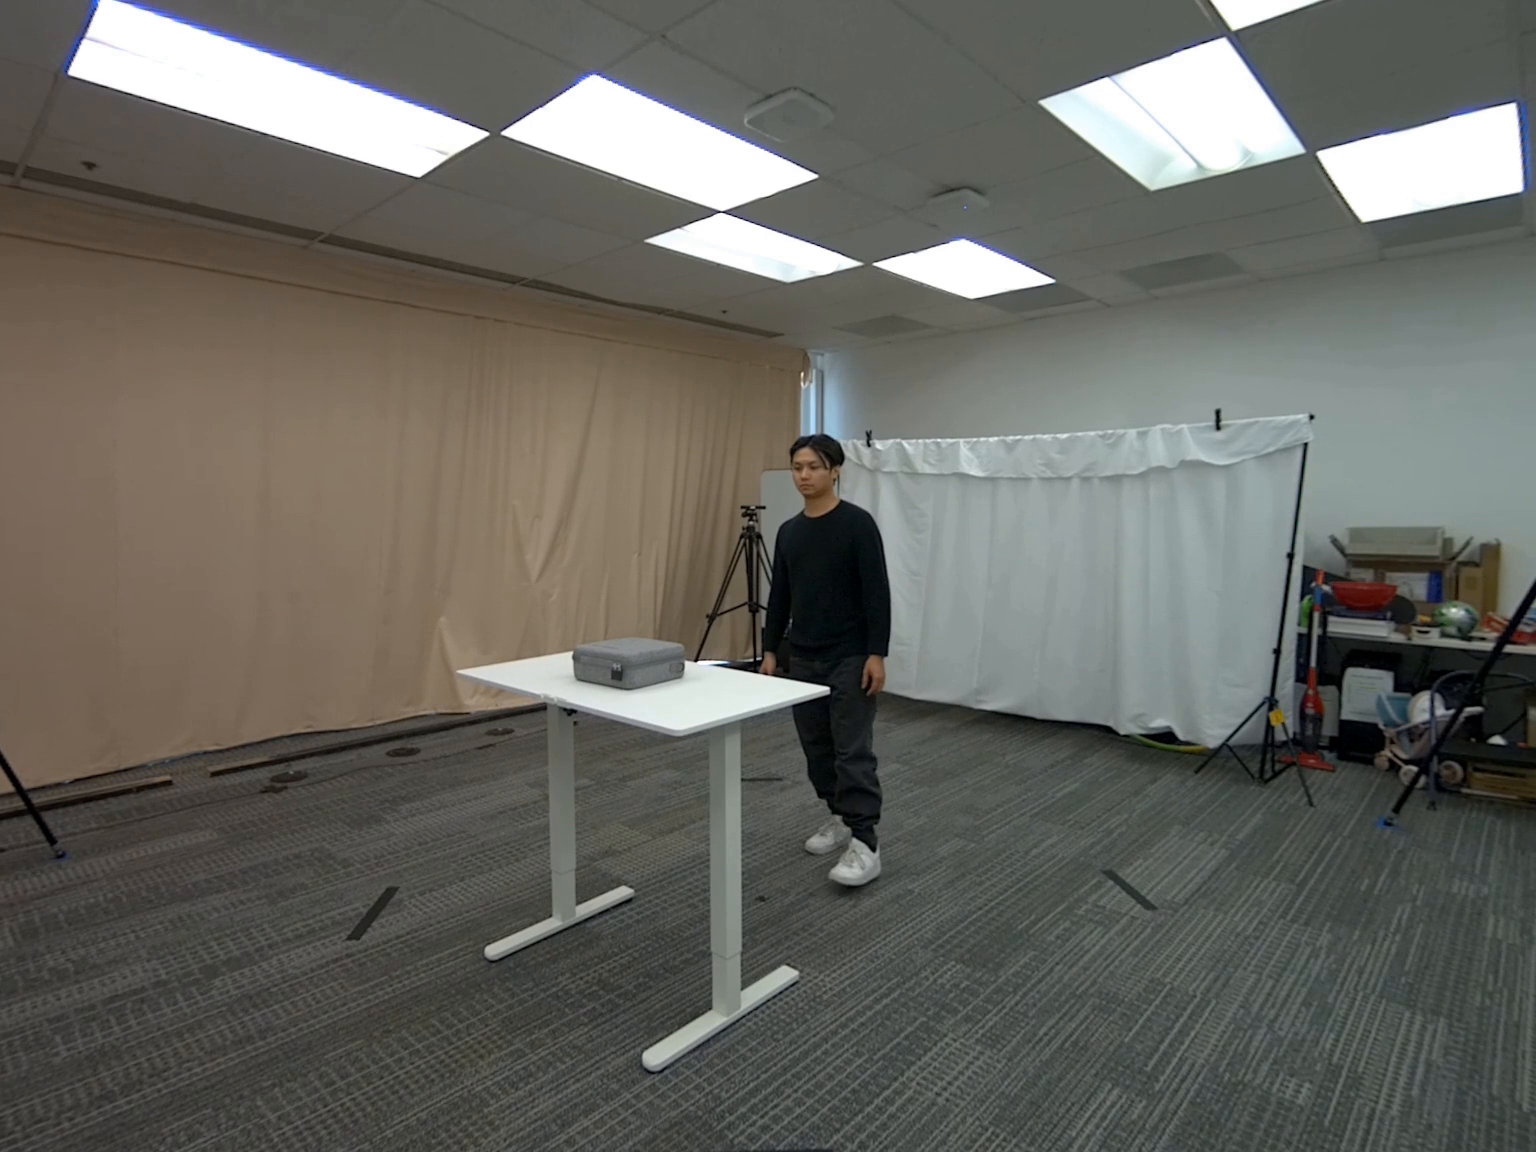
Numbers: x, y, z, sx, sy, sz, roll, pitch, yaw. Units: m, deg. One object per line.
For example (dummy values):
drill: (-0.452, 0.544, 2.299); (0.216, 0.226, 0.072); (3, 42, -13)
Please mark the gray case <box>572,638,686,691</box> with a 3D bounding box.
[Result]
gray case: (-0.409, 0.252, 2.495); (0.265, 0.104, 0.253); (3, 6, 37)
